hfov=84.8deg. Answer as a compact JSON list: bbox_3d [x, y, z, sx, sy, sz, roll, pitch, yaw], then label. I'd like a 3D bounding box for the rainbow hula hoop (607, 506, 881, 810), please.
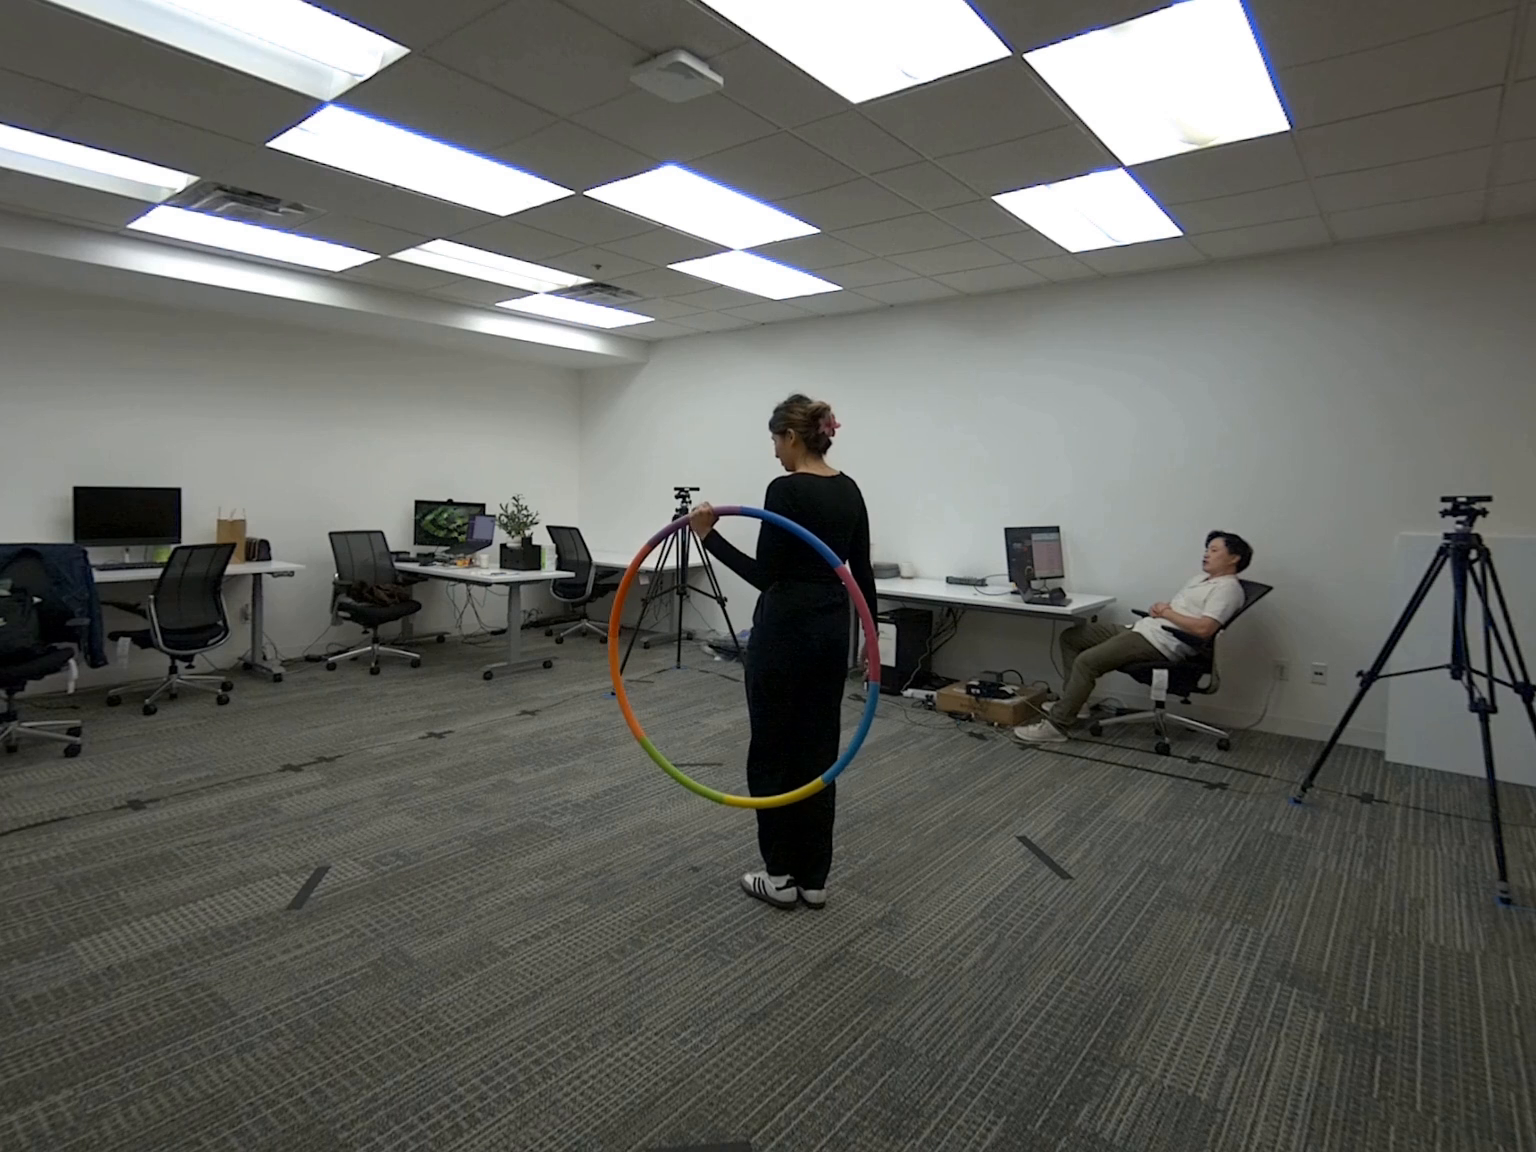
[{"bbox_3d":[-0.120,0.259,2.791,1.004,0.975,0.035,3,4,26],"label":"rainbow hula hoop"}]
